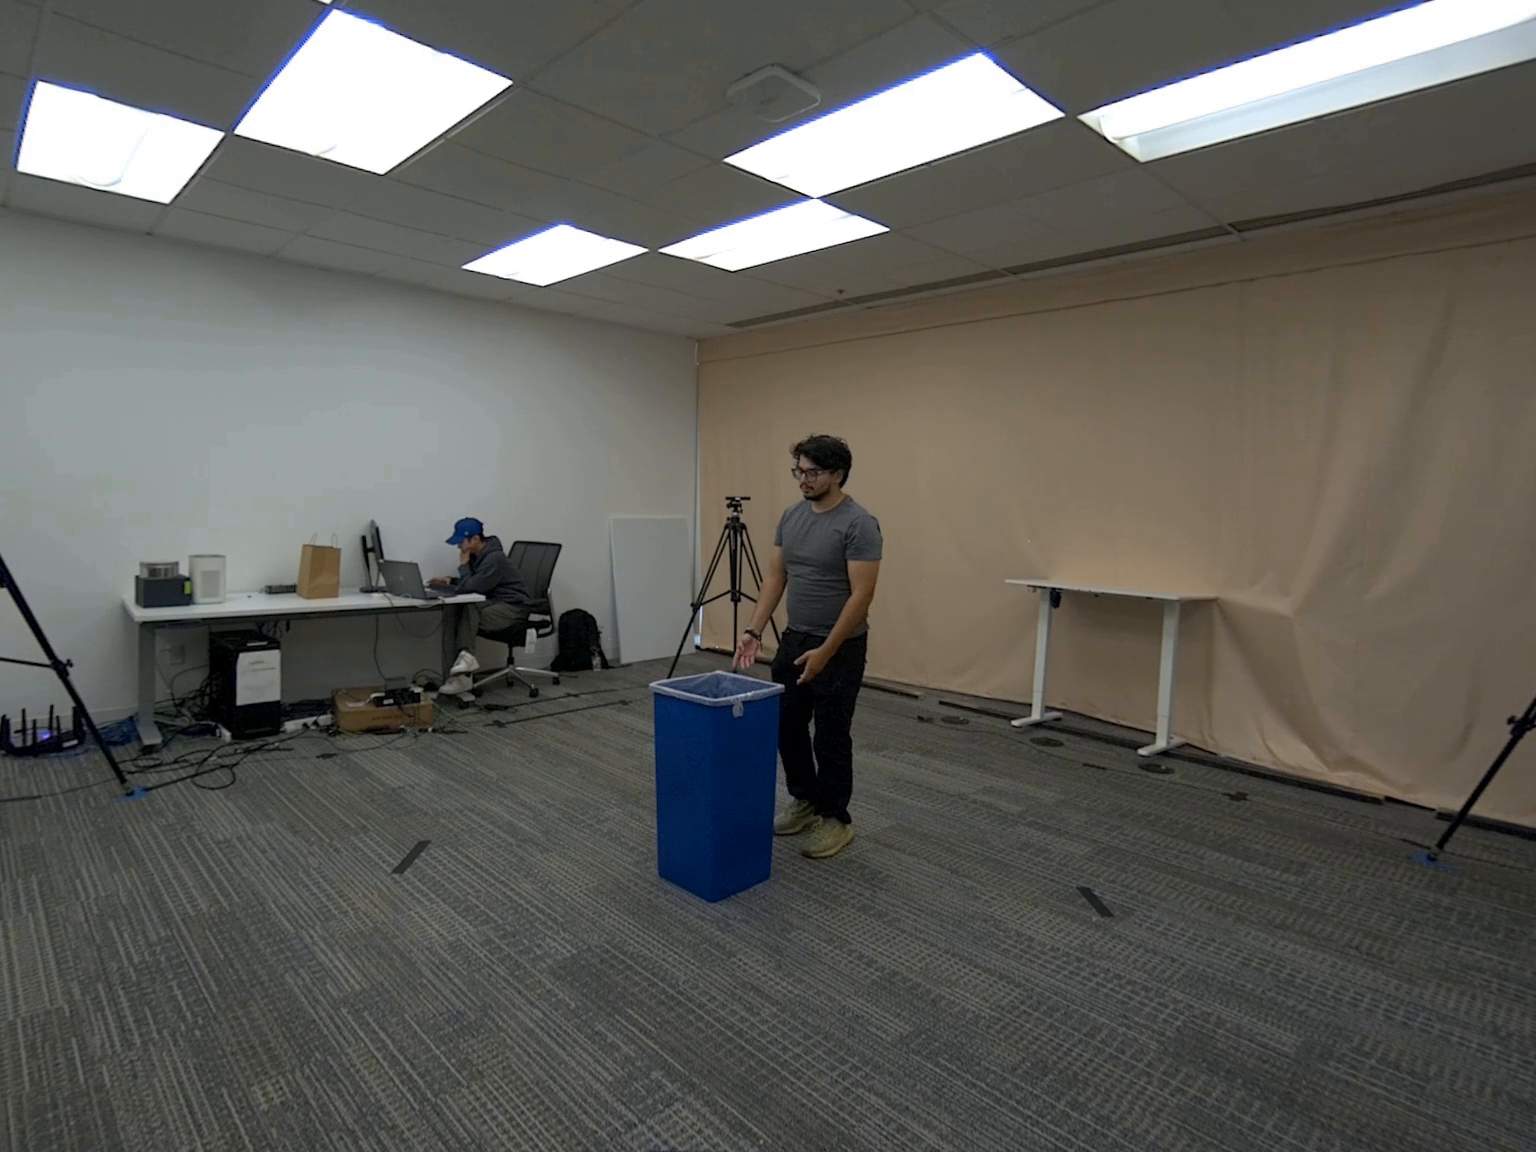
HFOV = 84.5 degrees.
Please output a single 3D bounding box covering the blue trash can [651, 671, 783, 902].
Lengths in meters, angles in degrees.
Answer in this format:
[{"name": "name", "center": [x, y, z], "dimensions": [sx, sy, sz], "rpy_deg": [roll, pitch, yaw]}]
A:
[{"name": "blue trash can", "center": [-0.195, 0.749, 3.084], "dimensions": [0.387, 0.712, 0.365], "rpy_deg": [4, 4, 43]}]
